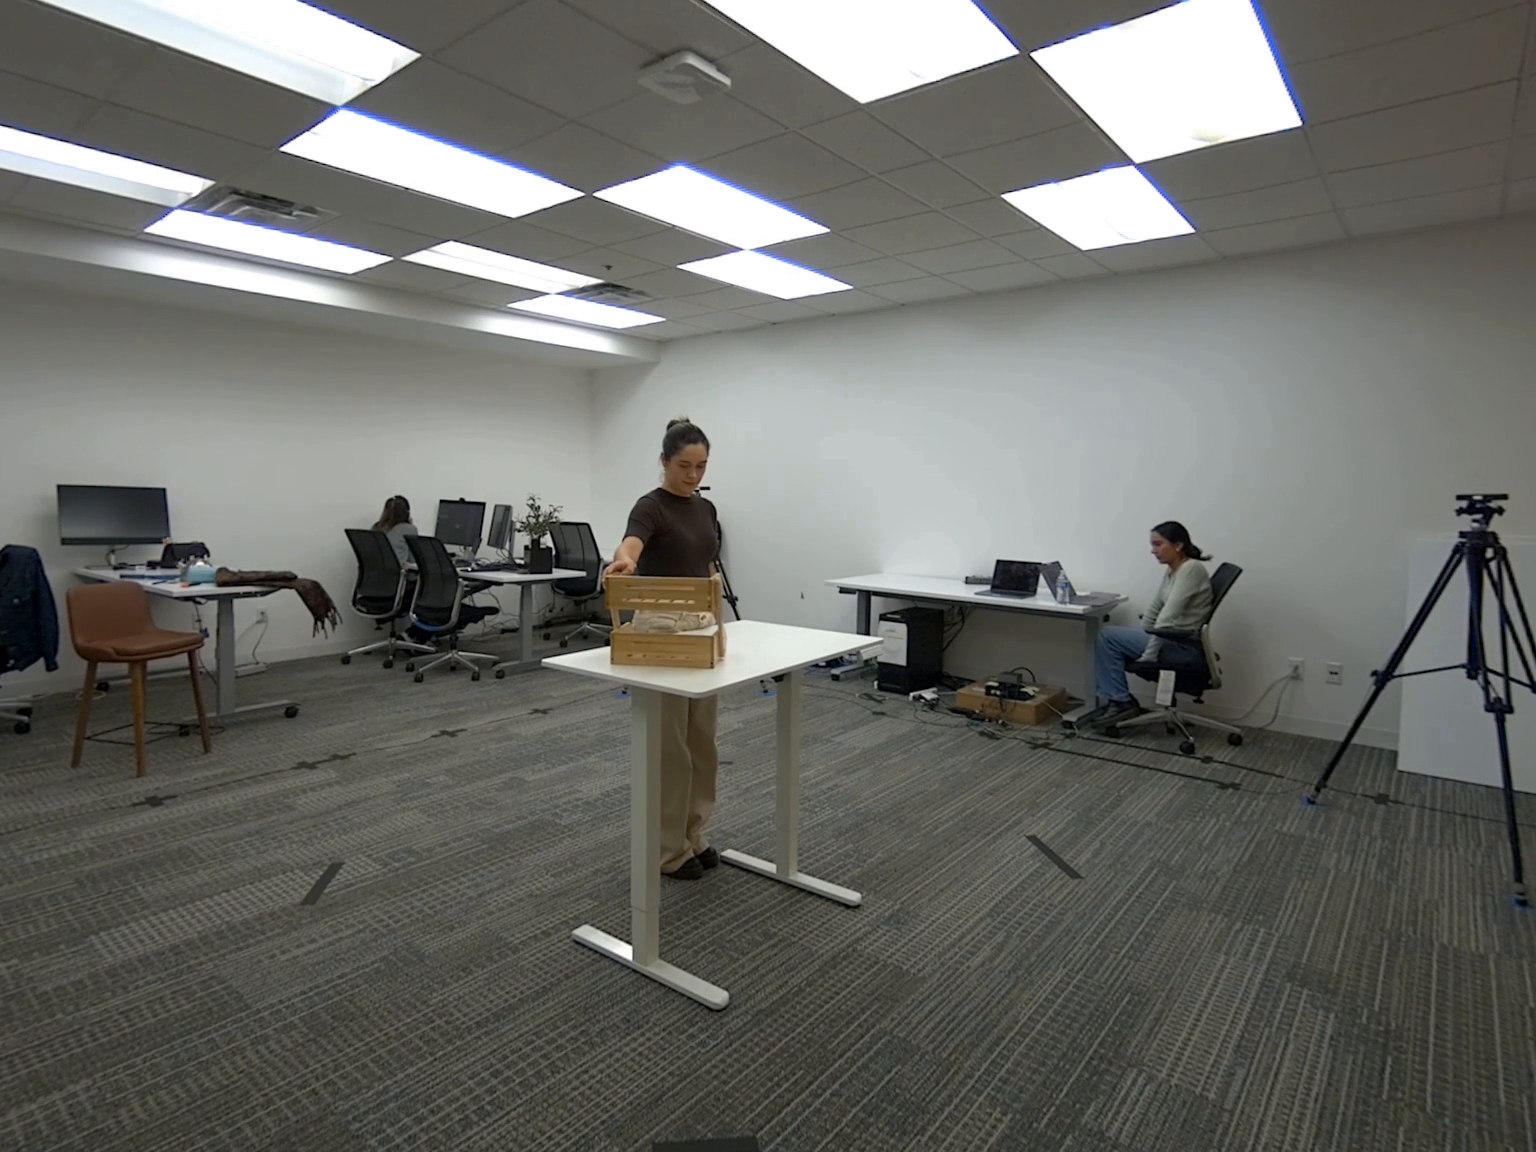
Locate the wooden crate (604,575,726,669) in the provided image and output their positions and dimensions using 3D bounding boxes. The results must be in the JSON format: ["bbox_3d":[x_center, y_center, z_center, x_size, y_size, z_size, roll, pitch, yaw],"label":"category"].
[{"bbox_3d":[-0.303,0.112,2.505,0.327,0.272,0.301,2,6,6],"label":"wooden crate"}]
